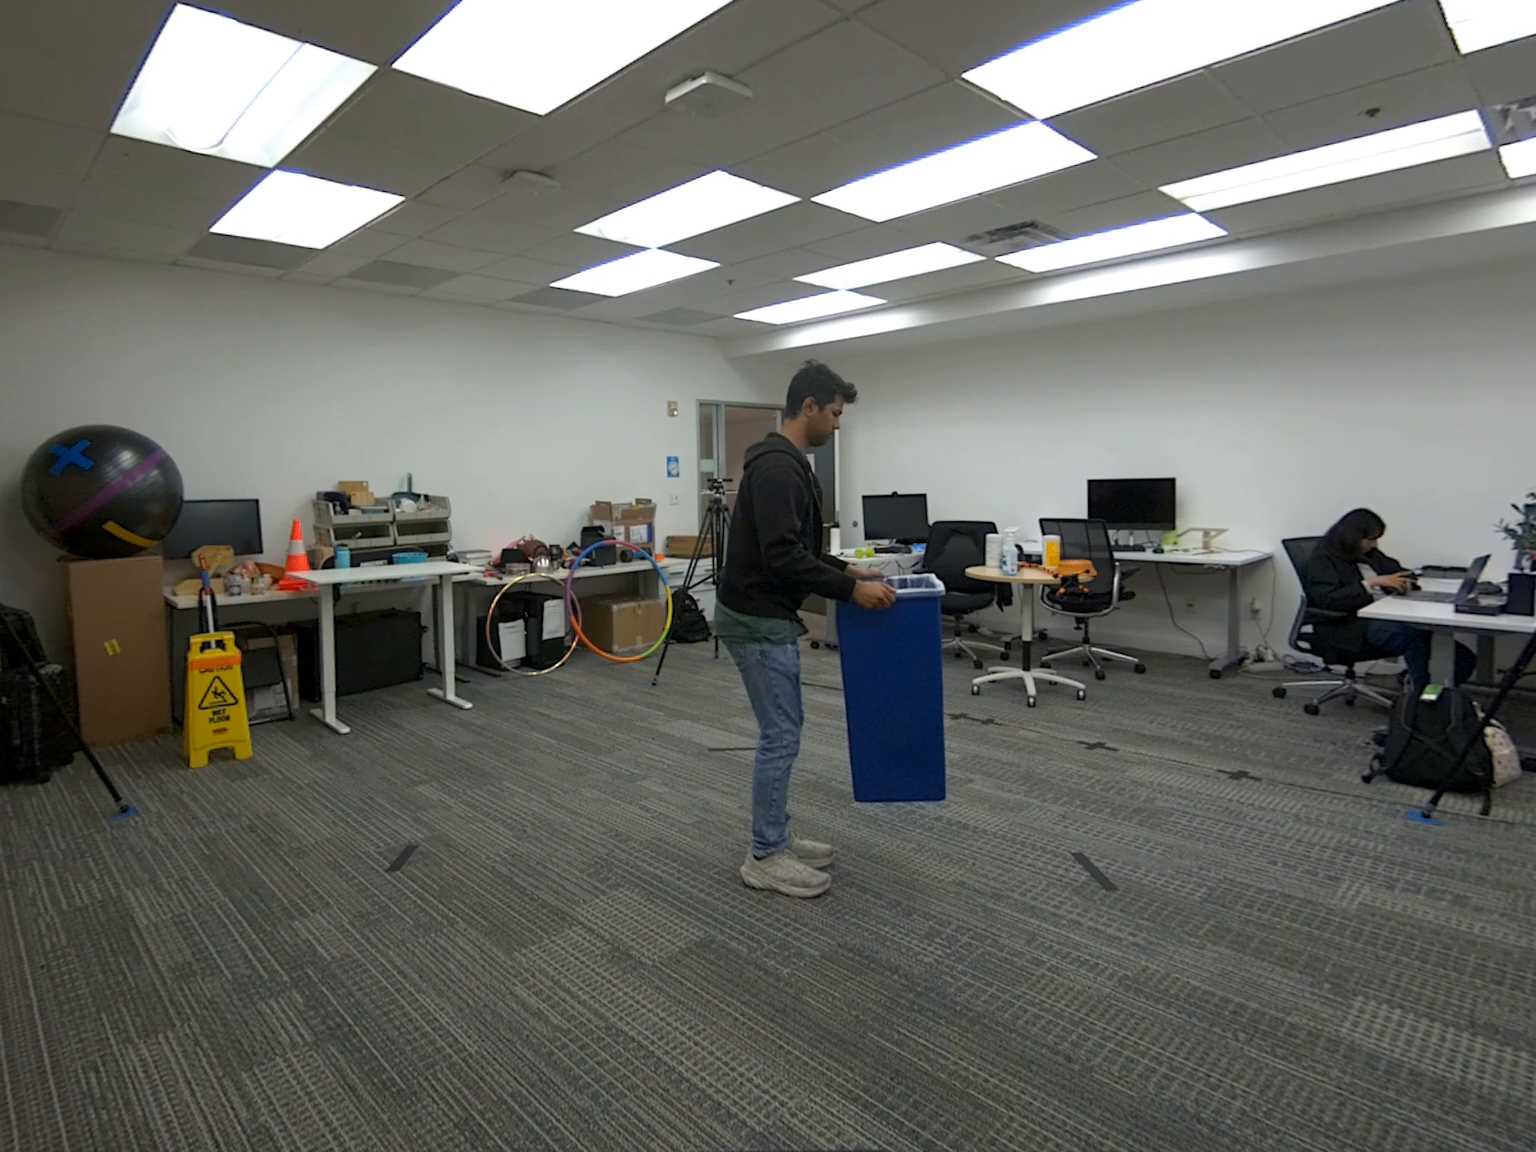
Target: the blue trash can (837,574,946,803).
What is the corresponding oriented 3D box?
[{"bbox_3d":[0.428,0.391,2.956,0.381,0.711,0.372,-4,3,8],"label":"blue trash can"}]
